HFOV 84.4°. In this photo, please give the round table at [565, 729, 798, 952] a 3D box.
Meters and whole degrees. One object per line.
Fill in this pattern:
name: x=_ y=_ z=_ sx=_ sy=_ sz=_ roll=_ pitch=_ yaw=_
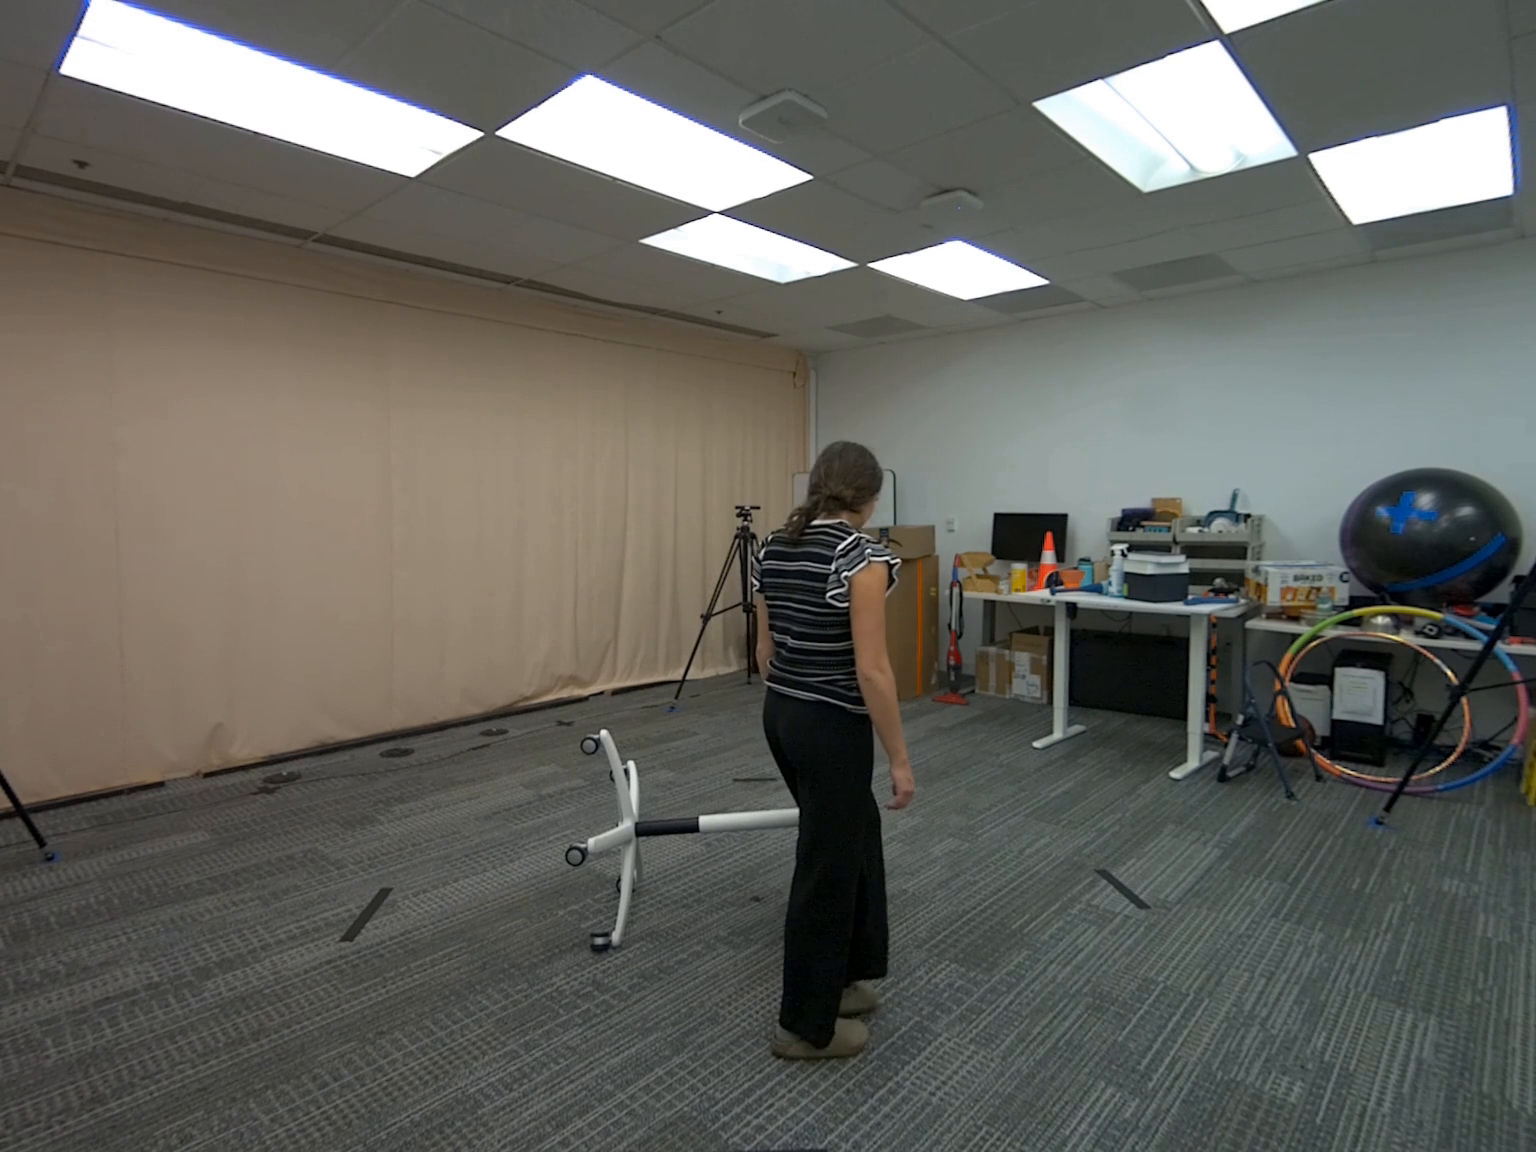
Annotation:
round table: x=-0.188 y=0.823 z=2.788 sx=0.791 sy=0.783 sz=0.783 roll=-6 pitch=3 yaw=4
